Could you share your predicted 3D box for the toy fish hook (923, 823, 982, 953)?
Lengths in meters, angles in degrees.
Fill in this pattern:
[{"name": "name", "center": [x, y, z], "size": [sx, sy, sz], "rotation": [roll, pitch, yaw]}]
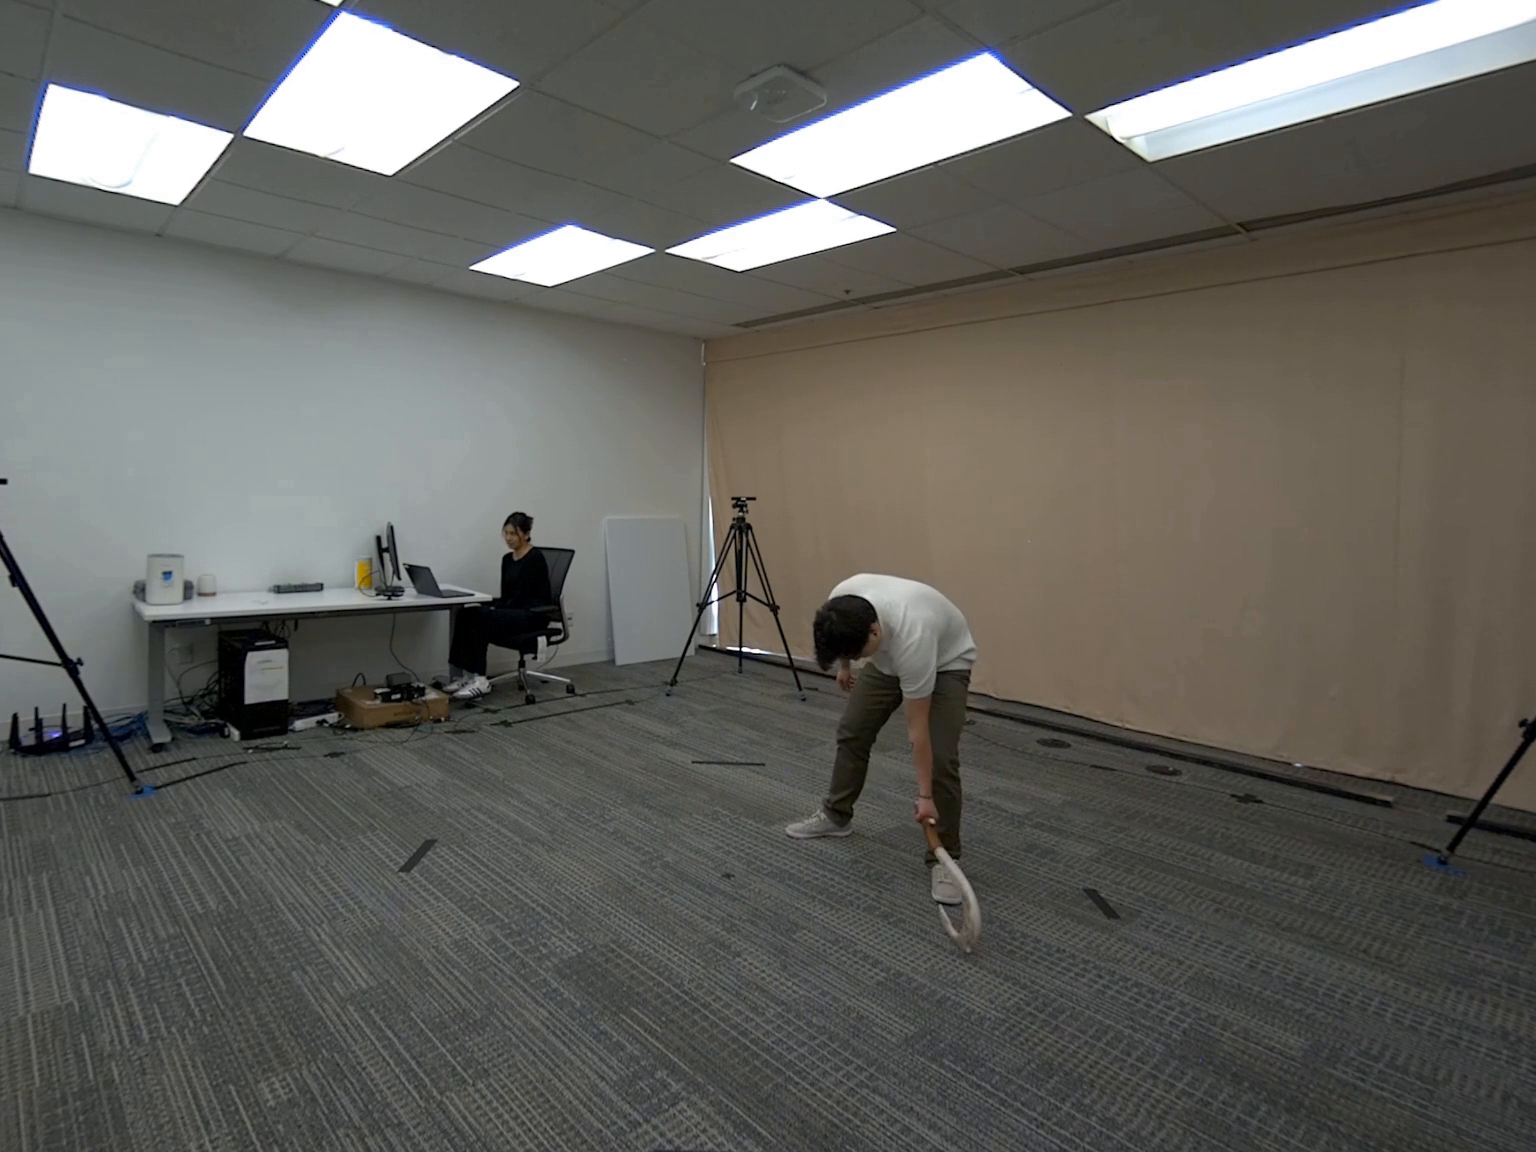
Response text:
[{"name": "toy fish hook", "center": [0.561, 0.999, 2.769], "size": [0.048, 0.222, 0.519], "rotation": [8, 29, -16]}]
